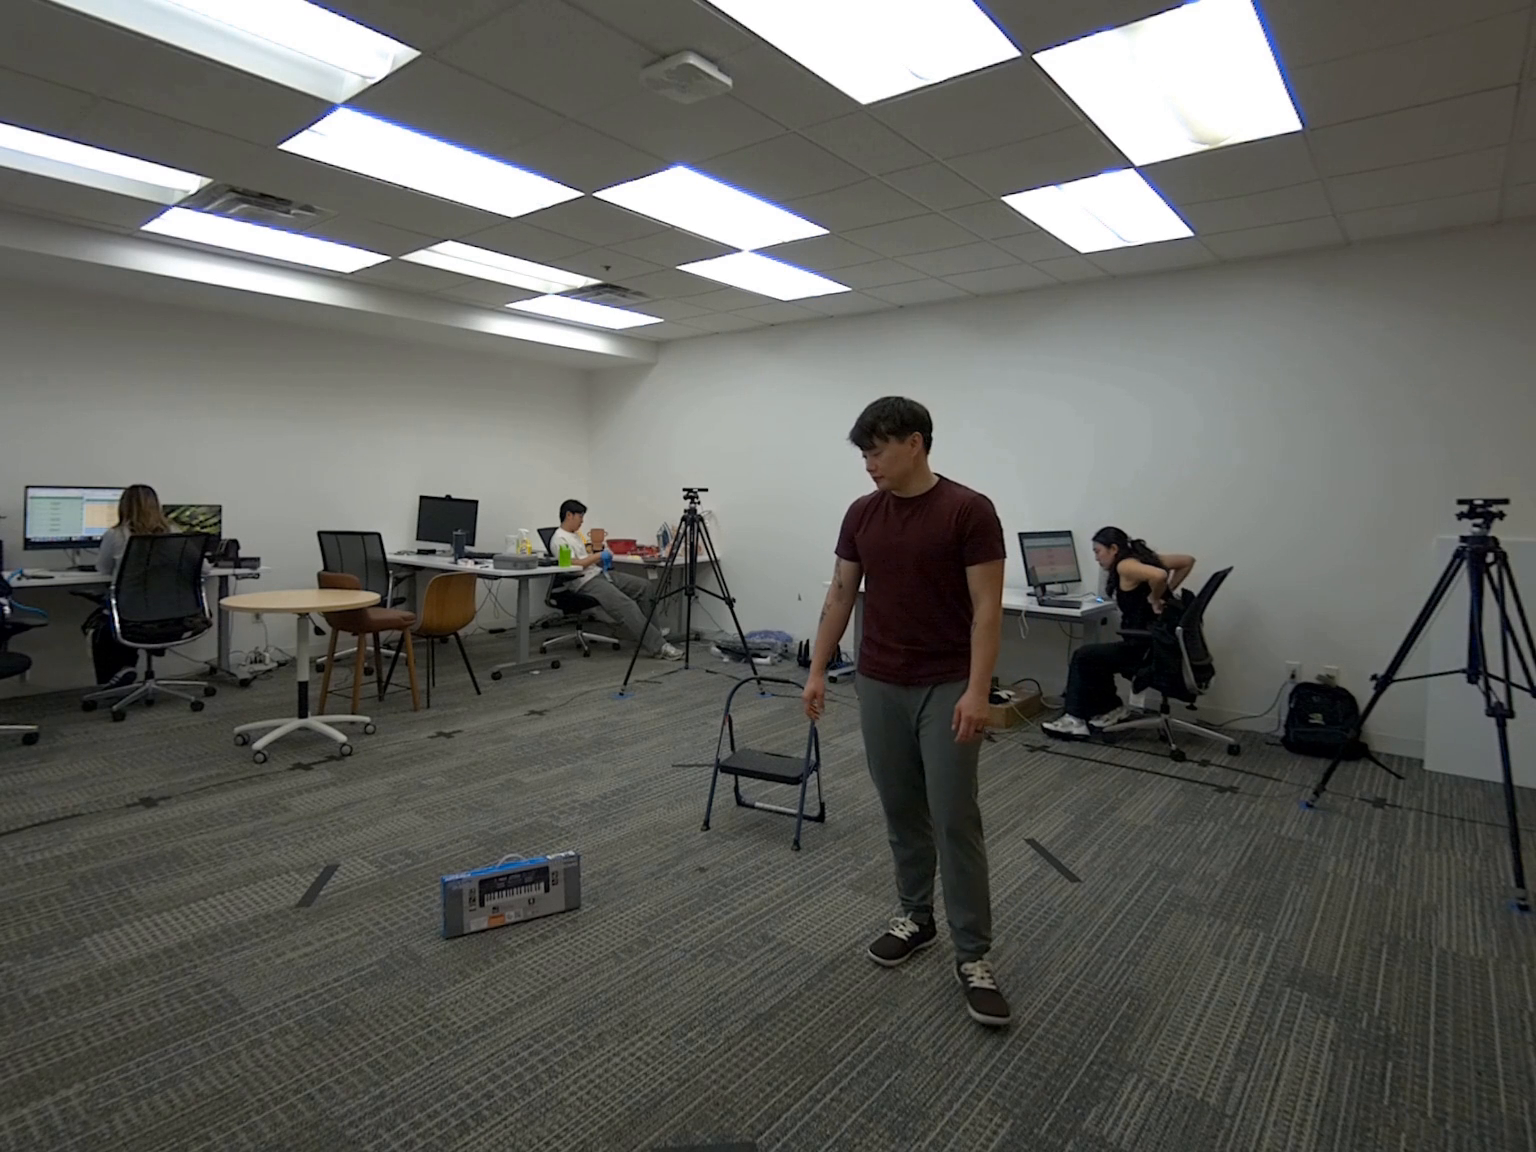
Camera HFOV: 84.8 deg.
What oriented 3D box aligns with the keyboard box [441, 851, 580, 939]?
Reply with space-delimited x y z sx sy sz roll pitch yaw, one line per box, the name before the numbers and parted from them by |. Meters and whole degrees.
keyboard box | -0.822 1.011 2.722 0.425 0.176 0.060 -2 -3 -29
